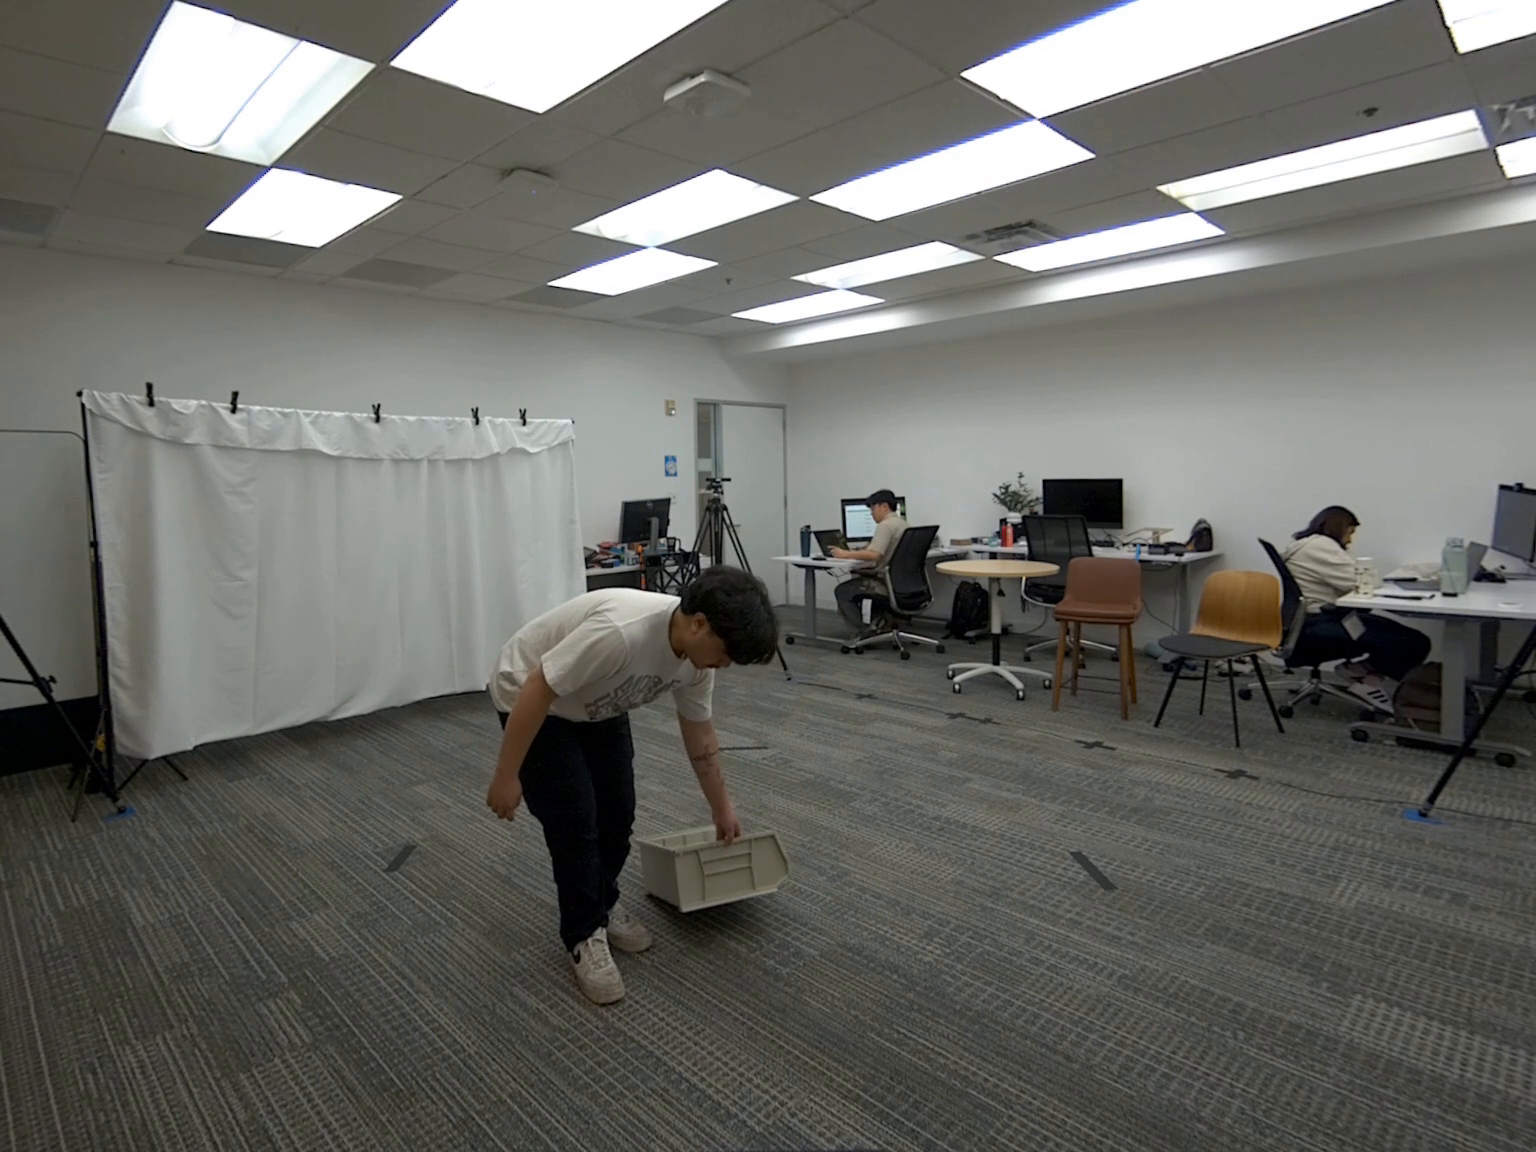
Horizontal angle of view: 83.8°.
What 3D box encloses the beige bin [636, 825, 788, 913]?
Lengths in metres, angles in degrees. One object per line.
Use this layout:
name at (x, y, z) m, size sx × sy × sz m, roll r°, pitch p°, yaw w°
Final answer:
beige bin at (-0.183, 0.939, 2.784) m, size 0.370 × 0.191 × 0.426 m, roll -5°, pitch -9°, yaw -24°
